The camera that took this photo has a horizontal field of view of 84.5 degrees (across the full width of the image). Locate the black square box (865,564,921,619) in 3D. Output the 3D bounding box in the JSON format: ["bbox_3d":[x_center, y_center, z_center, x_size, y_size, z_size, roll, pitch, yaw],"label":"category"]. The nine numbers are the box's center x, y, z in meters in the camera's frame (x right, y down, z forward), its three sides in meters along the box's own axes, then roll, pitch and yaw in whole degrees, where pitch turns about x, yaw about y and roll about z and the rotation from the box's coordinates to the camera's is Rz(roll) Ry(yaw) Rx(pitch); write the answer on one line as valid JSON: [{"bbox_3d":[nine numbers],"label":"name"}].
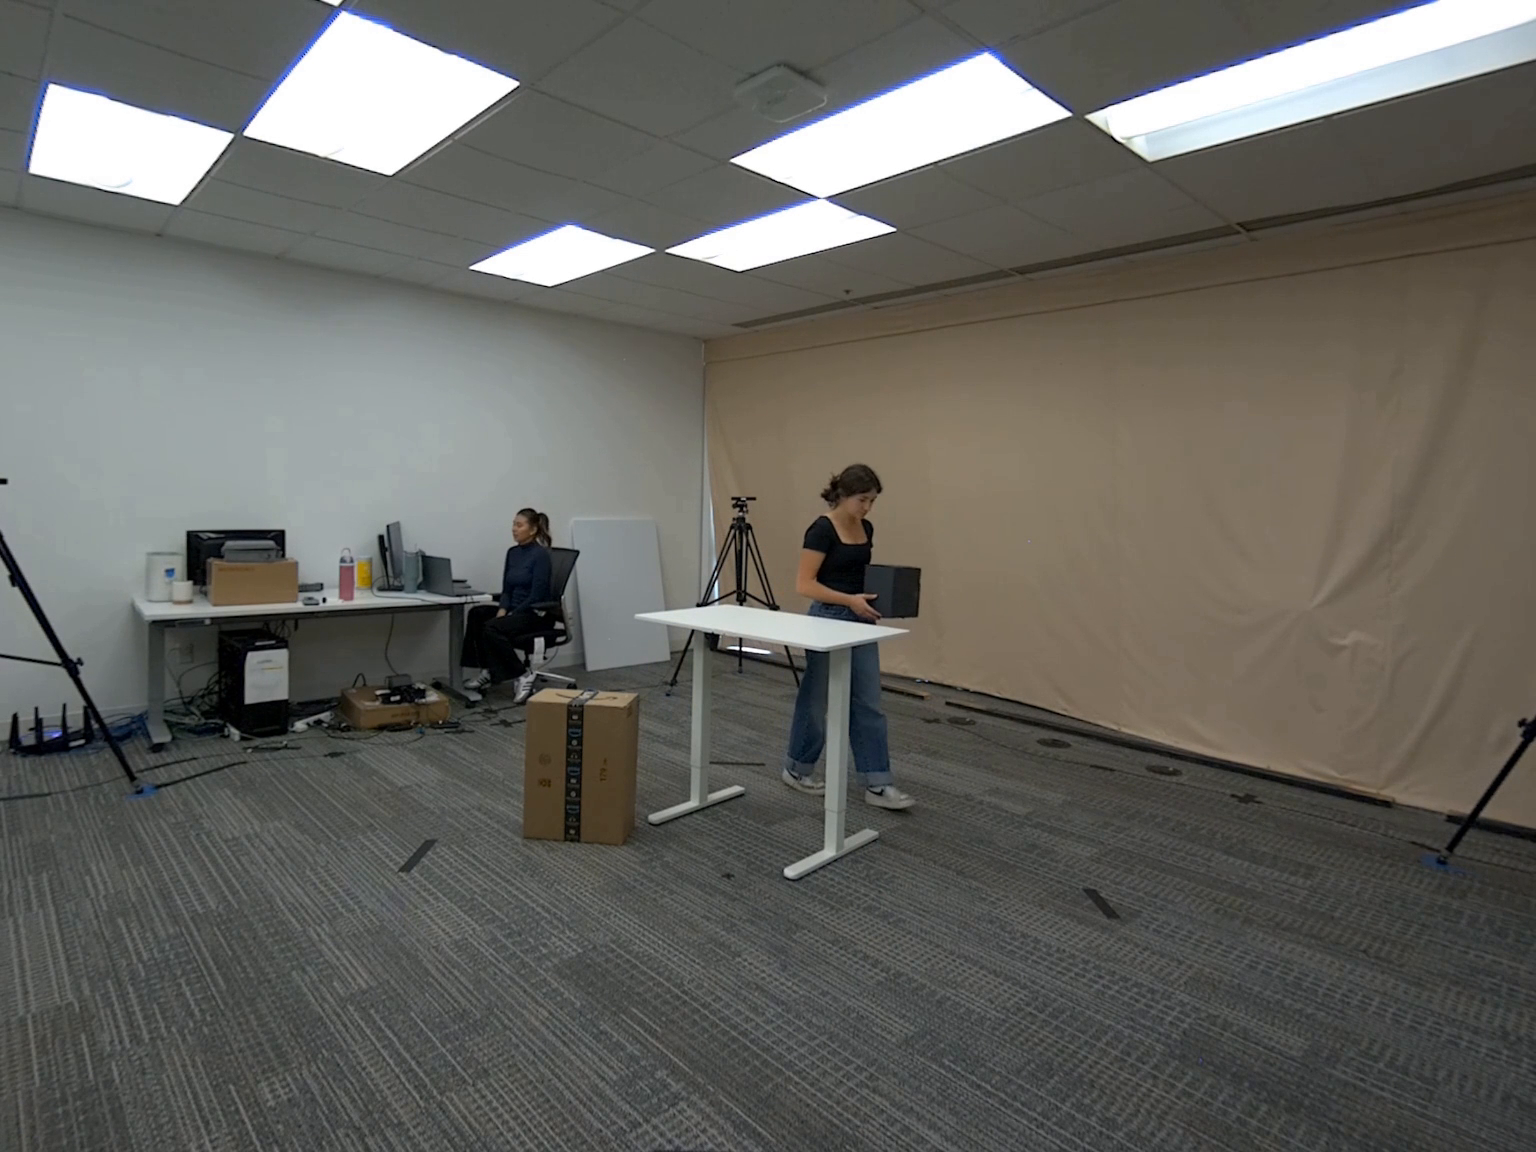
[{"bbox_3d":[0.545,0.060,3.779,0.160,0.228,0.212,5,3,43],"label":"black square box"}]
